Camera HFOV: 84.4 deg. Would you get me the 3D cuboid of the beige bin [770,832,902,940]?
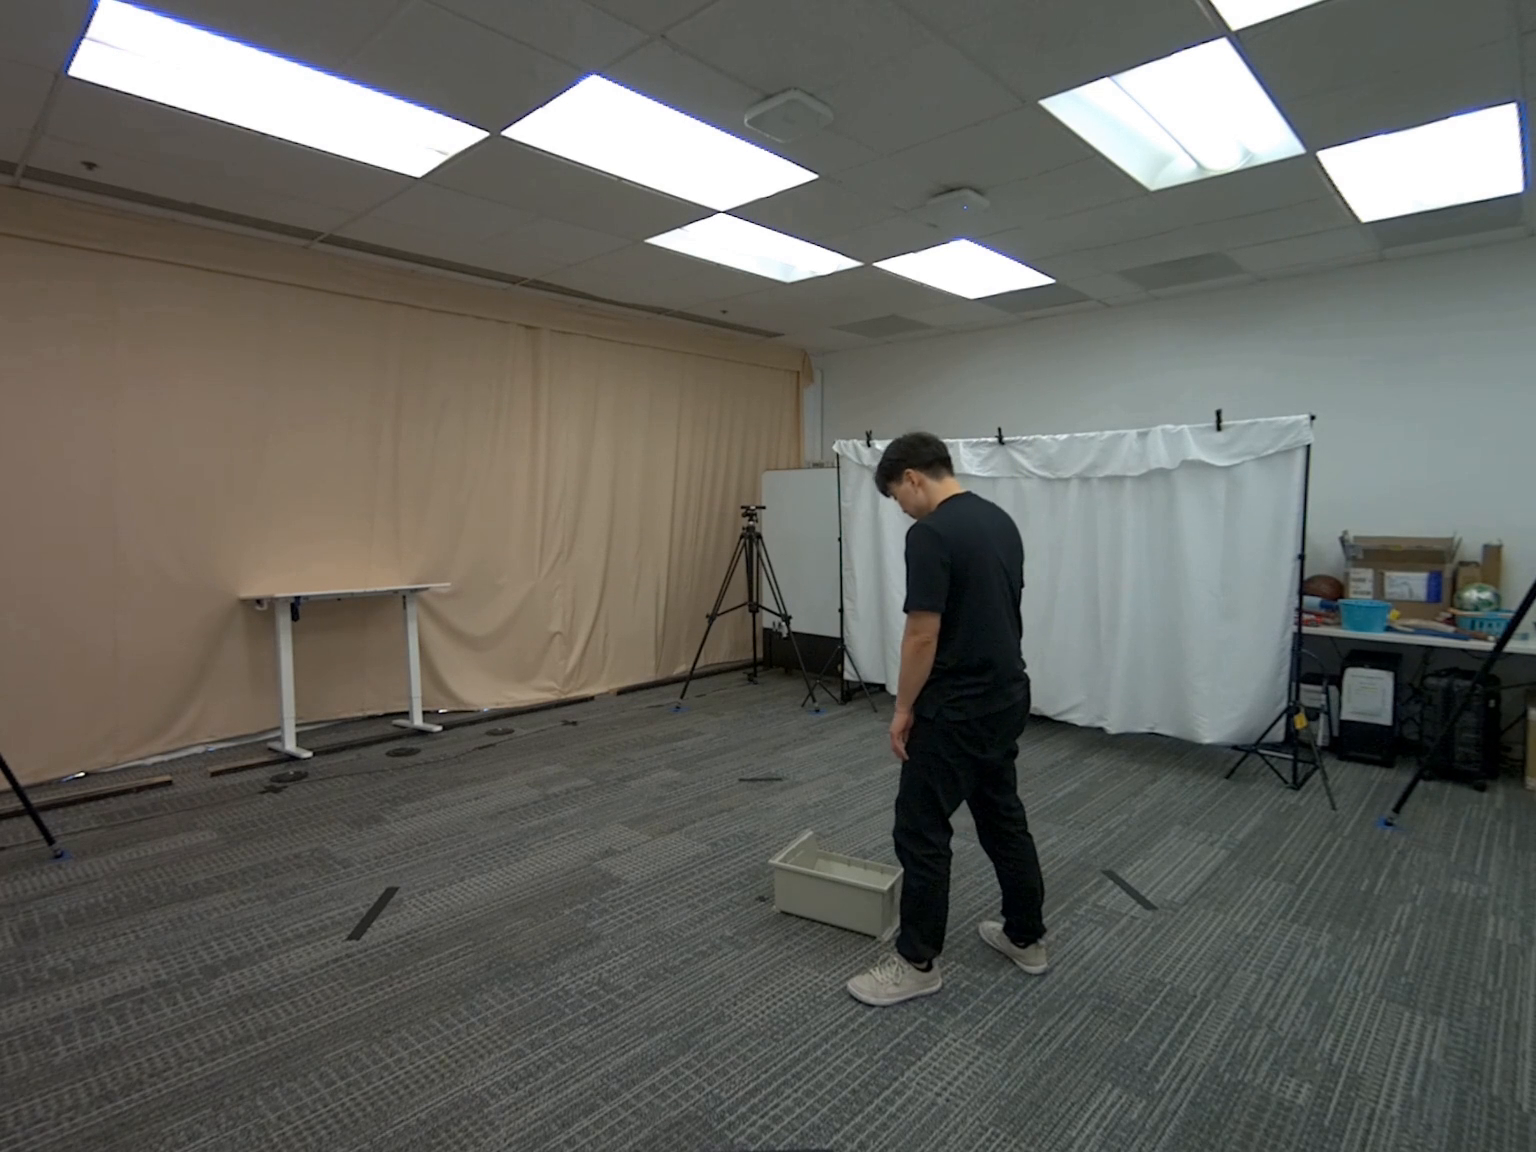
[{"bbox_3d":[0.279,1.059,2.932,0.434,0.188,0.368,3,7,29],"label":"beige bin"}]
